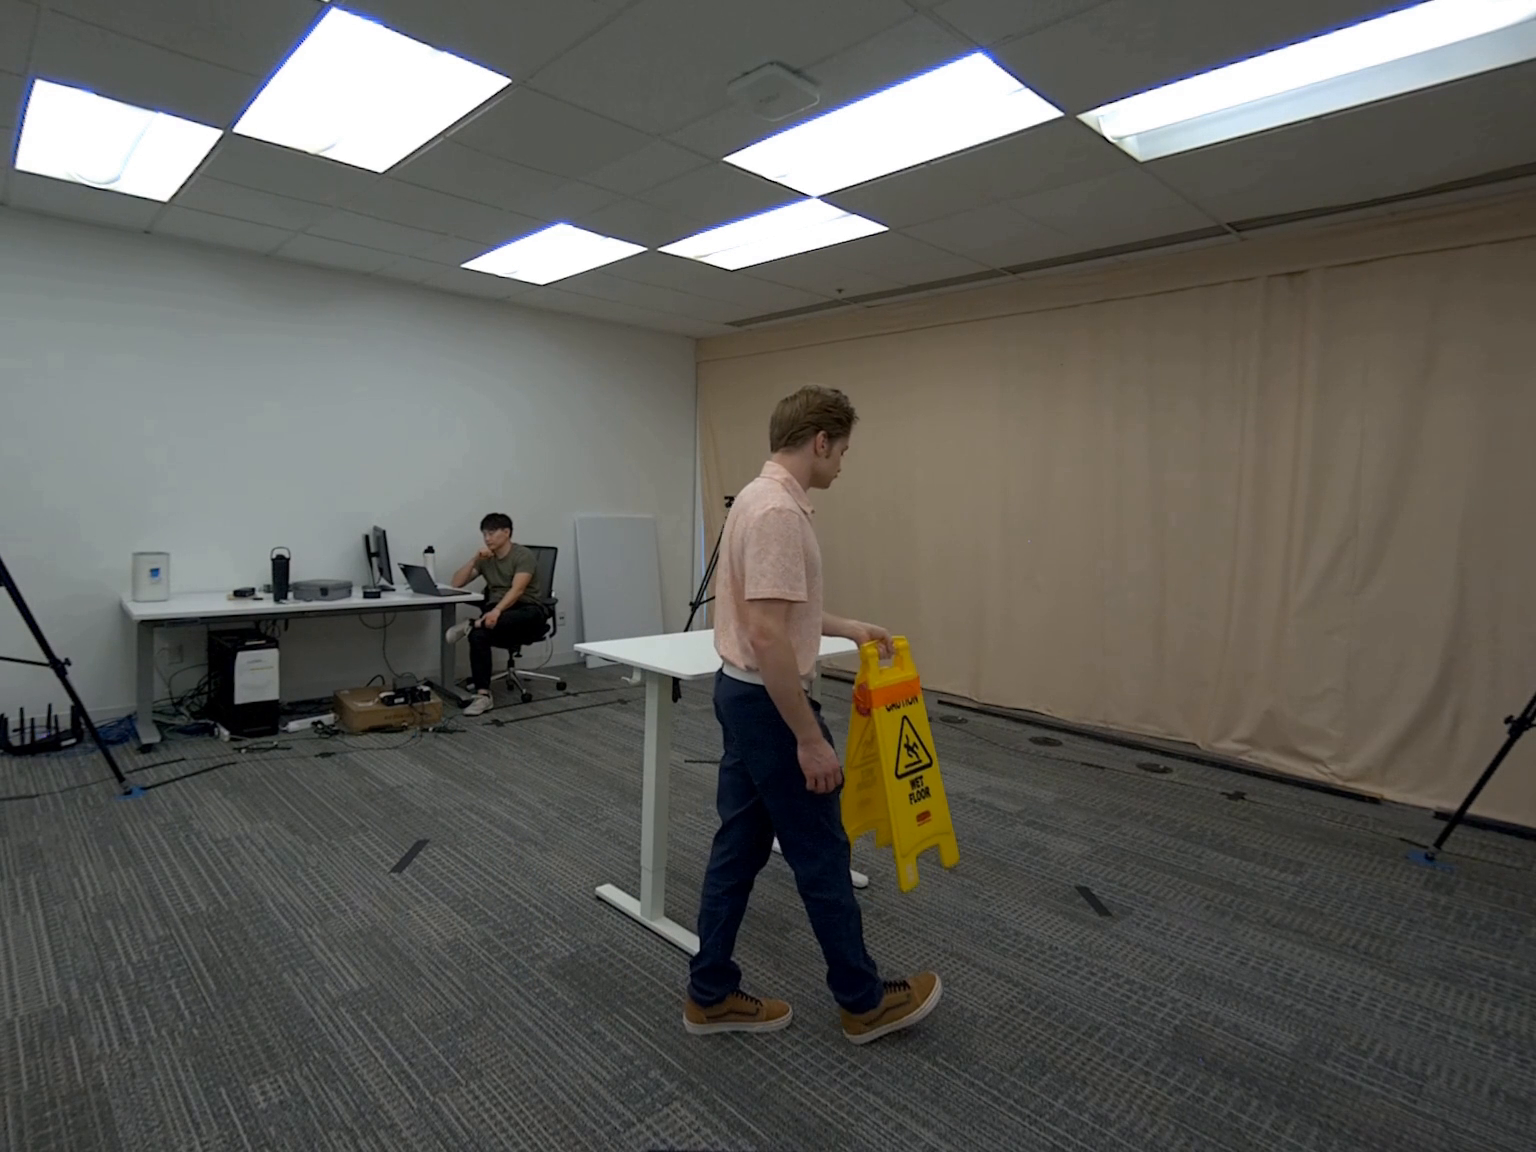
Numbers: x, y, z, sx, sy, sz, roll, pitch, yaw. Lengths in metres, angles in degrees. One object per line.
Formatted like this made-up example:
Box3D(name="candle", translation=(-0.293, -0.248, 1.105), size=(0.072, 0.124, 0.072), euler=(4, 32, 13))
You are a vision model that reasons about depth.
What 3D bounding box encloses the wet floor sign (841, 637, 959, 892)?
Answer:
Box3D(name="wet floor sign", translation=(0.345, 0.510, 2.400), size=(0.276, 0.644, 0.297), euler=(-5, 5, -45))
